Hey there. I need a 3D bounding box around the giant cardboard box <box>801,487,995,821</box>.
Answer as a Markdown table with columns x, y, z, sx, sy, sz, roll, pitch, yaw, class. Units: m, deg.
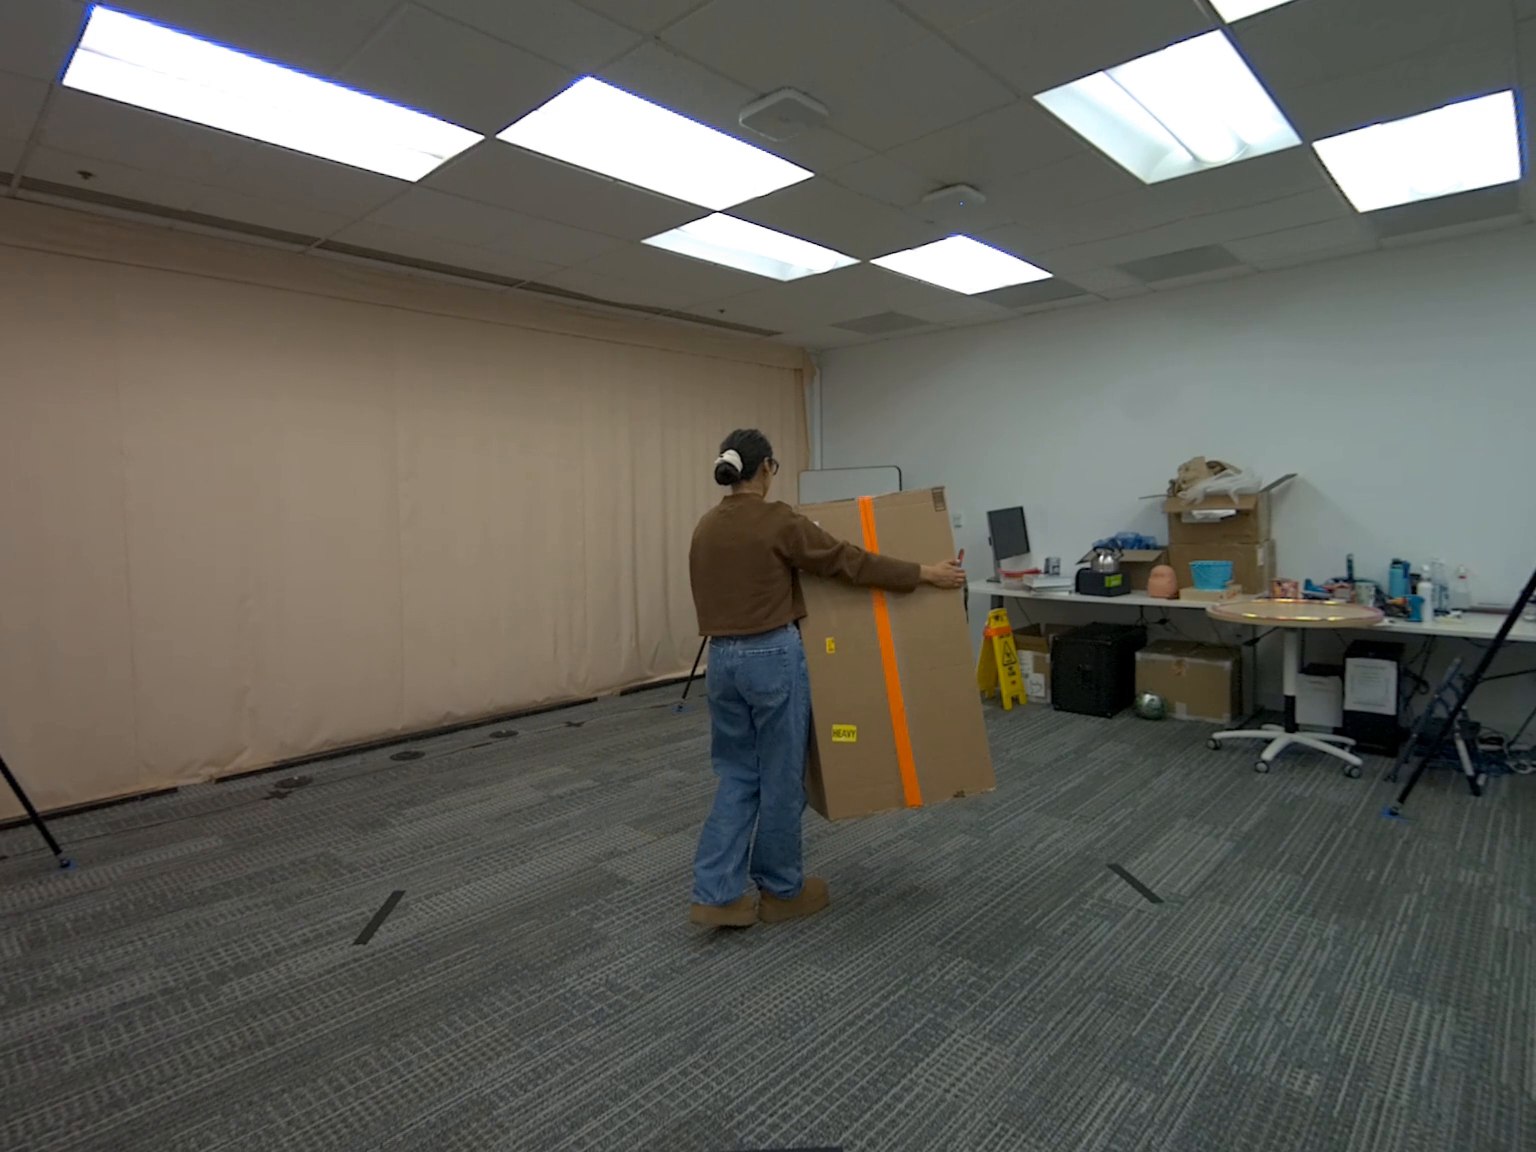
| x | y | z | sx | sy | sz | roll | pitch | yaw | class |
| --- | --- | --- | --- | --- | --- | --- | --- | --- | --- |
| 0.354 | 0.260 | 2.969 | 0.573 | 1.029 | 0.428 | -8 | -4 | -8 | giant cardboard box |
